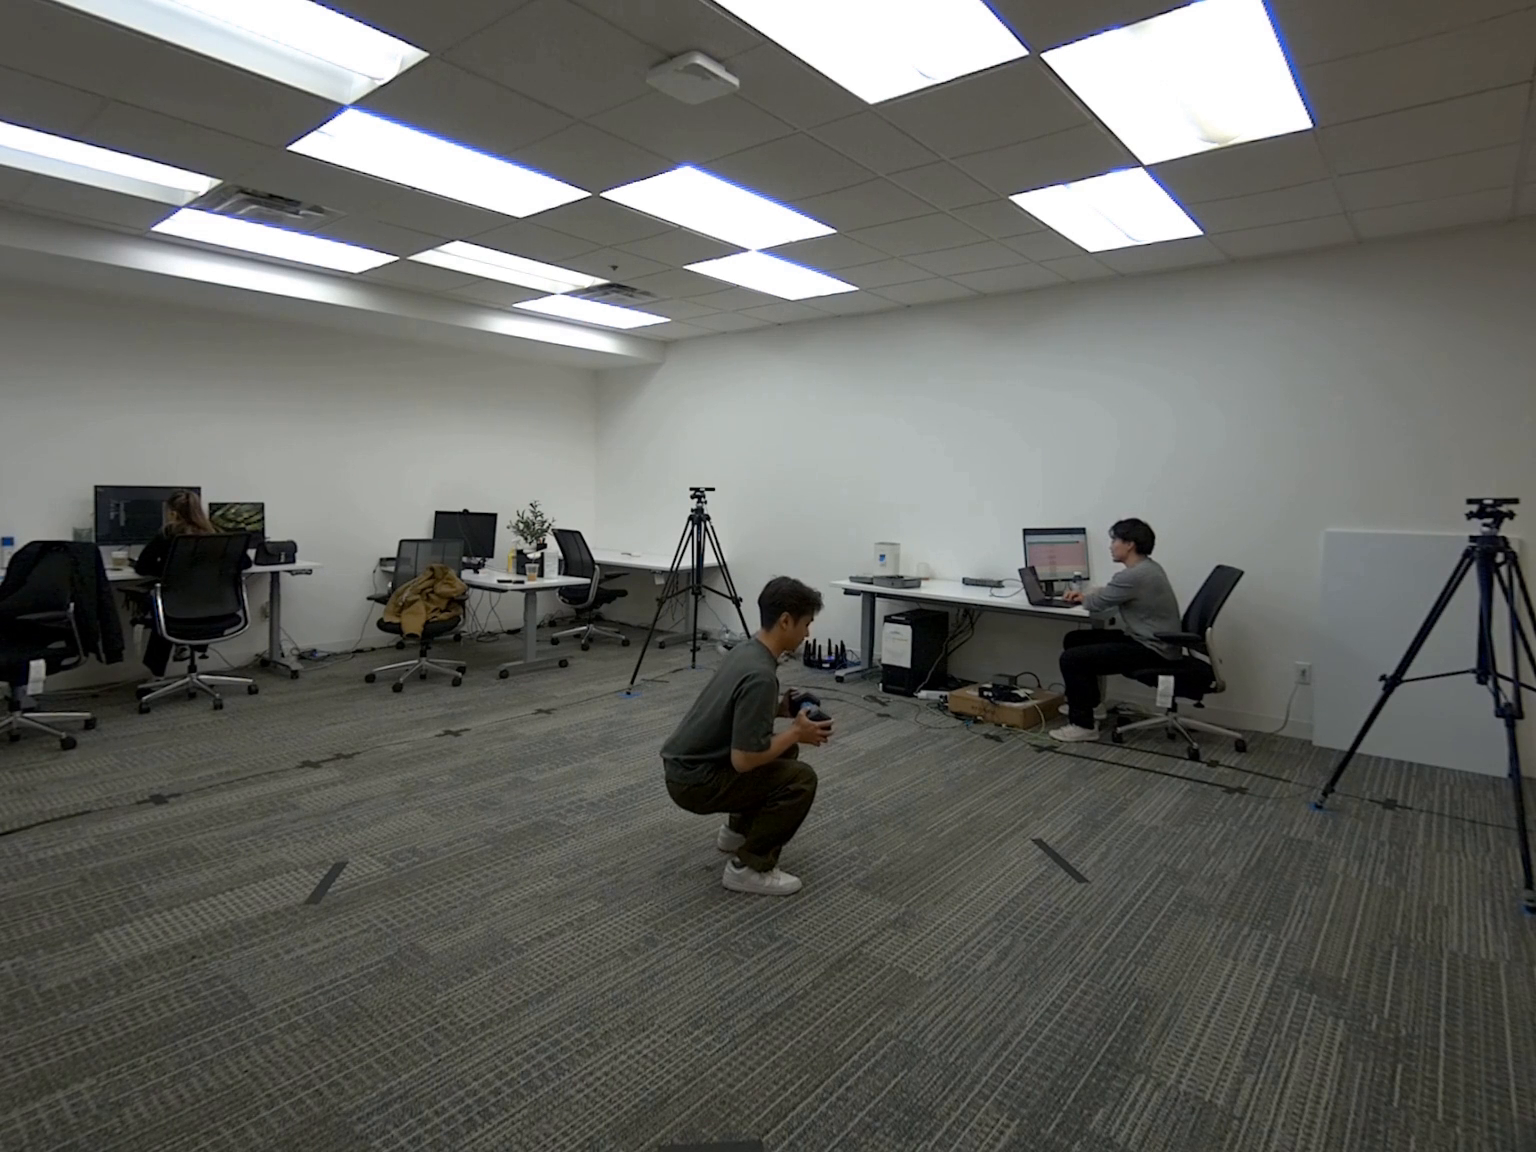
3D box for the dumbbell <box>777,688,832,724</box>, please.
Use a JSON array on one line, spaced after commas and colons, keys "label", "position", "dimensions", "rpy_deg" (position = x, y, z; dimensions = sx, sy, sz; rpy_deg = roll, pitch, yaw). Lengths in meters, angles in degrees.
[{"label": "dumbbell", "position": [0.141, 0.507, 3.121], "dimensions": [0.123, 0.107, 0.298], "rpy_deg": [-31, 11, -2]}]
